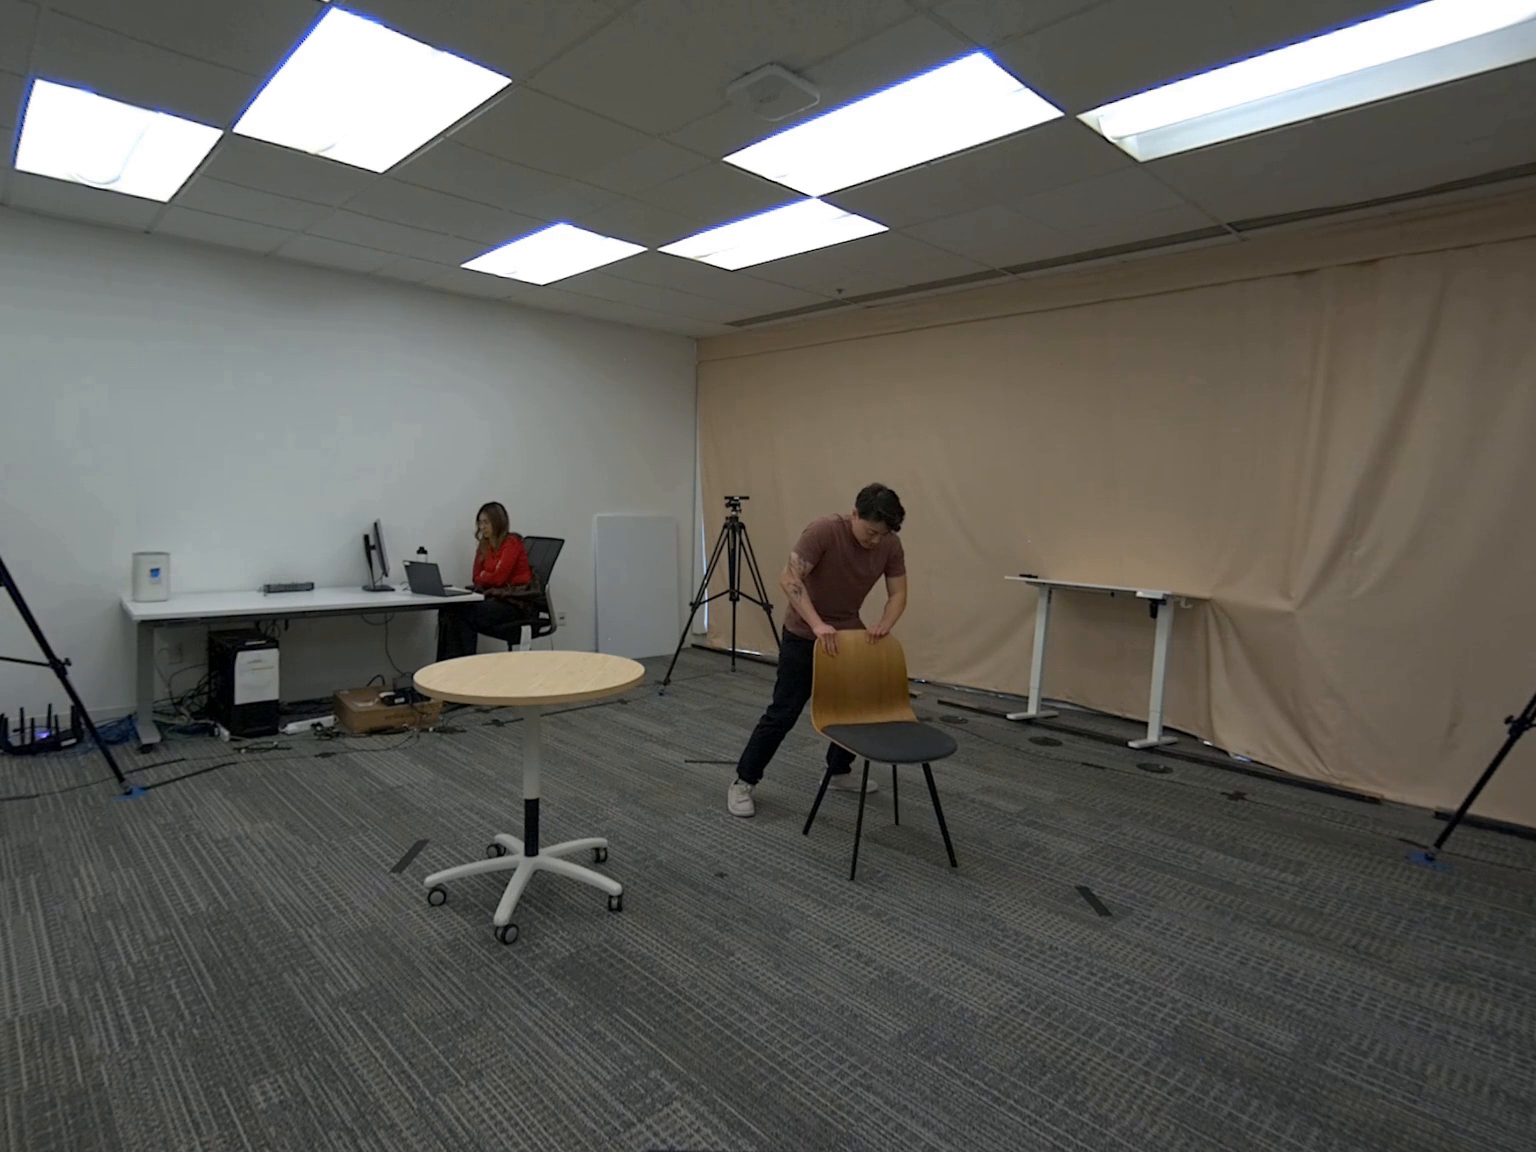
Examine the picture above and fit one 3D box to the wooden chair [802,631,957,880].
[{"bbox_3d":[0.434,0.674,3.322,0.471,0.878,0.530,1,-1,-20],"label":"wooden chair"}]
